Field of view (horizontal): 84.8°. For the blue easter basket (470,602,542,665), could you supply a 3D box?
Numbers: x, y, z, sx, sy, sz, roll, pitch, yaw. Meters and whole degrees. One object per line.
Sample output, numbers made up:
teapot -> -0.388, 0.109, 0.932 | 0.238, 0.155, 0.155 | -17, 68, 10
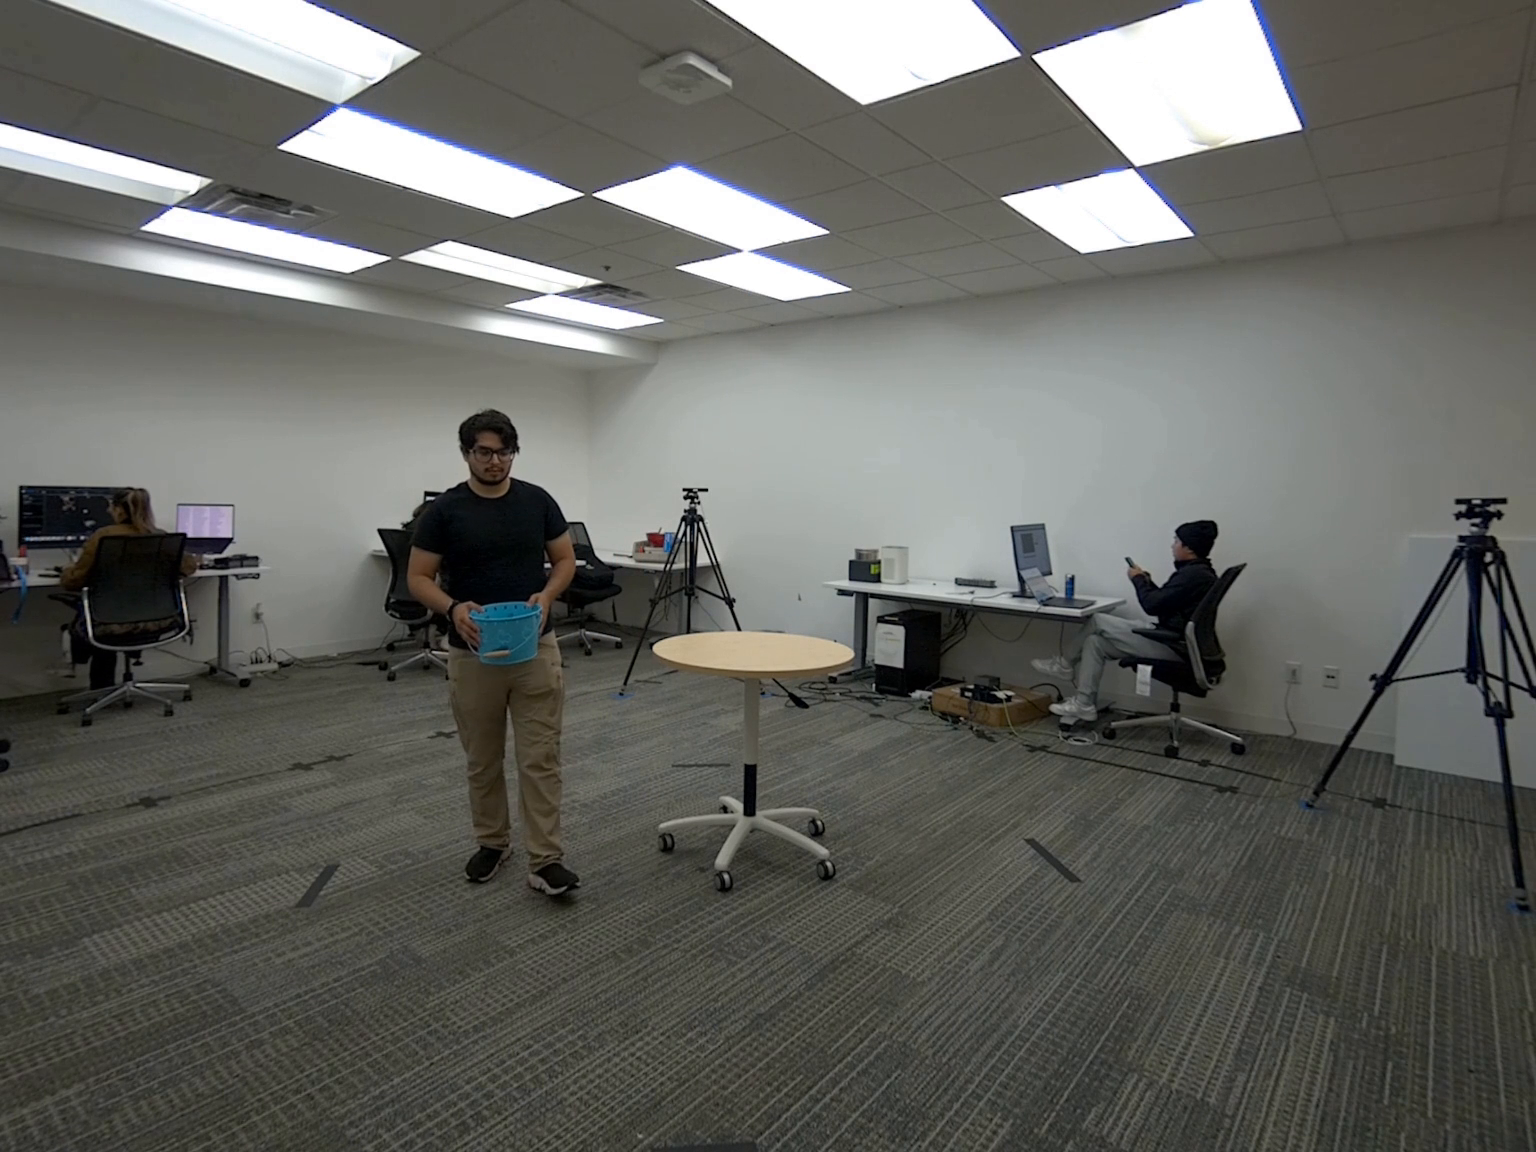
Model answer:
blue easter basket -> -0.875, 0.185, 2.745 | 0.243, 0.154, 0.246 | -3, 9, -1
